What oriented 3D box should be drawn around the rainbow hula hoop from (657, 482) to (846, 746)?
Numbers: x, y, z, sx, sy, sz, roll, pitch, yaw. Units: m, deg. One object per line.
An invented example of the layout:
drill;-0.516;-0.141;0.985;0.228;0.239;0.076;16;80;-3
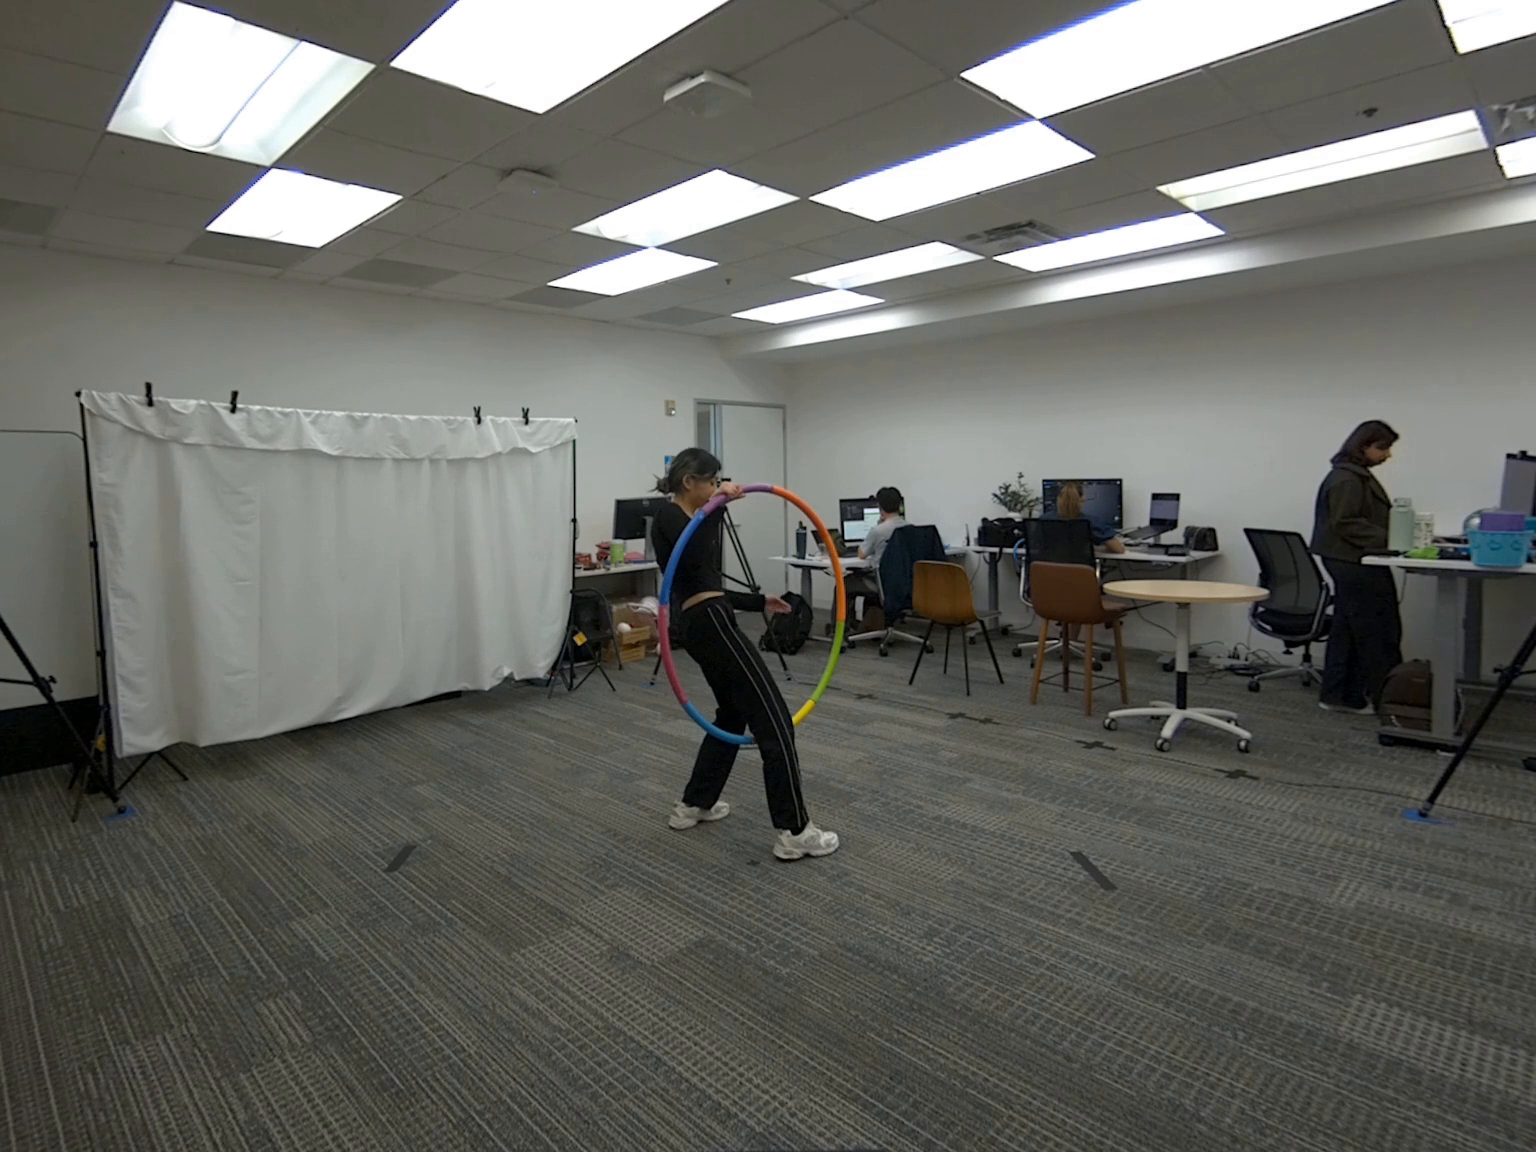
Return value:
rainbow hula hoop;-0.039;0.131;3.289;0.953;0.977;0.036;-5;2;-42
